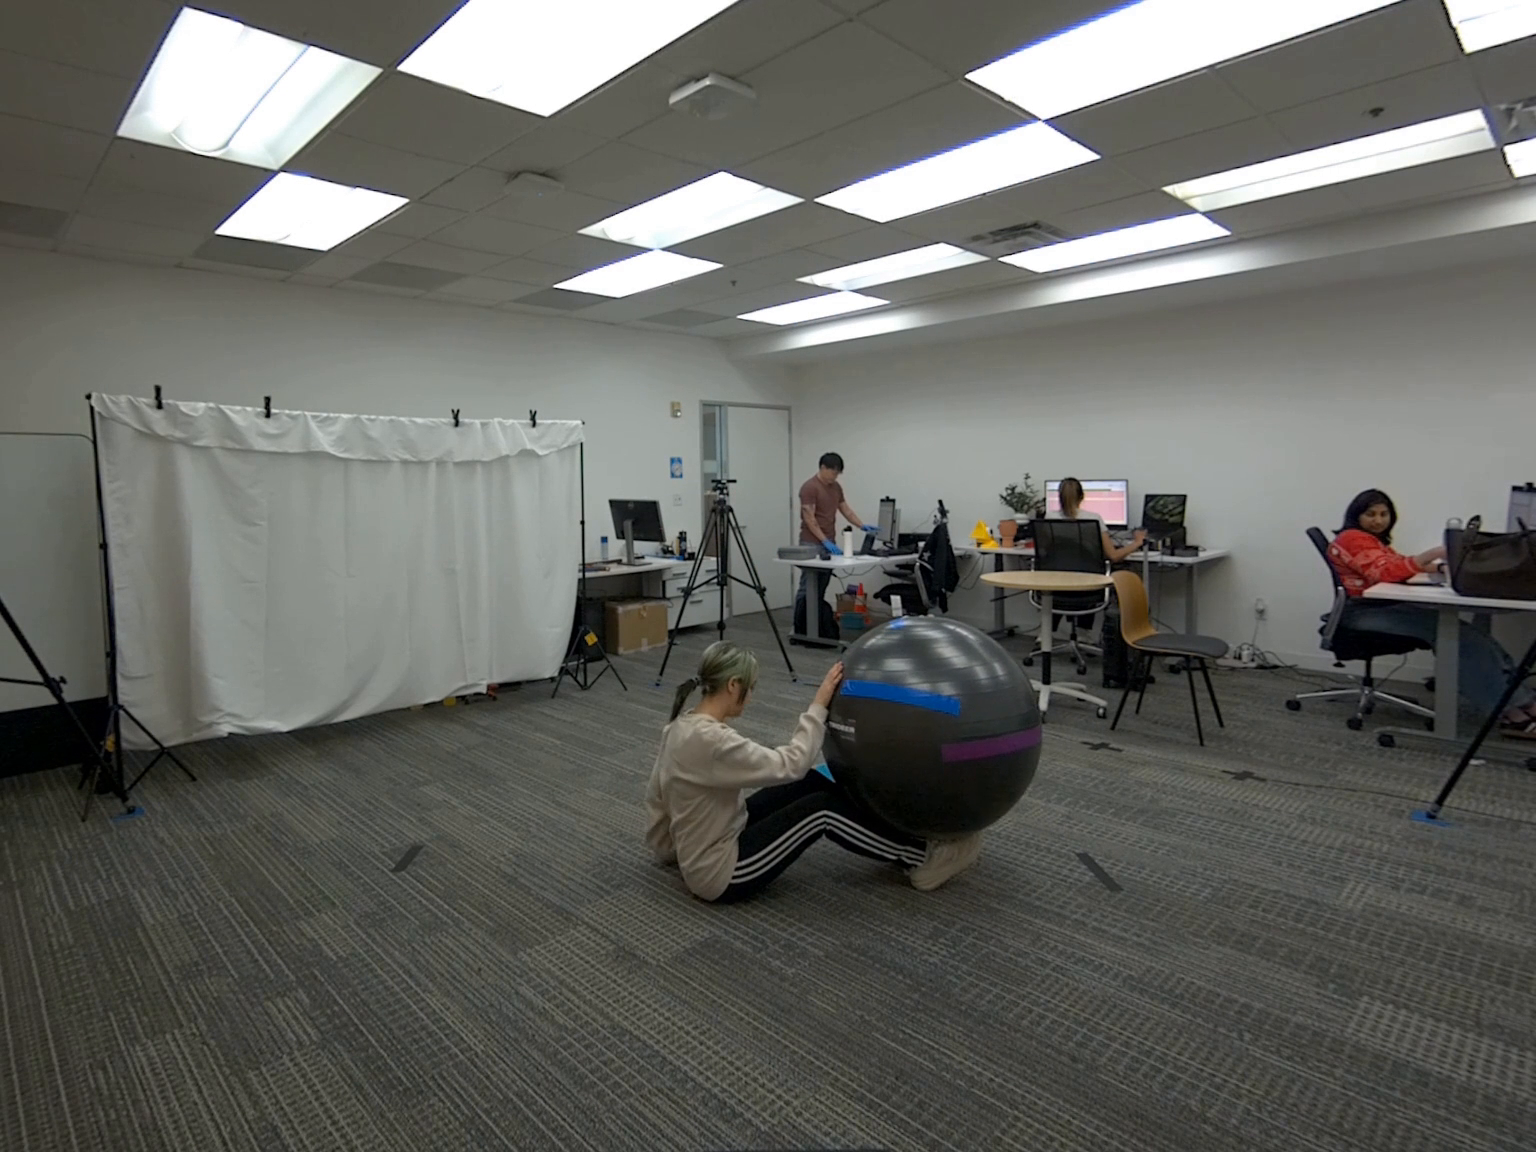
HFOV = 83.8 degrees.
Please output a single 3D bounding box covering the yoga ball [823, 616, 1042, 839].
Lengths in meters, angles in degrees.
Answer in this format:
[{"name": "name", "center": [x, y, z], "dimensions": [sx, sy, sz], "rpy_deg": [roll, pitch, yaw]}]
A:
[{"name": "yoga ball", "center": [0.577, 0.527, 2.992], "dimensions": [0.757, 0.755, 0.762], "rpy_deg": [-1, 5, -2]}]
